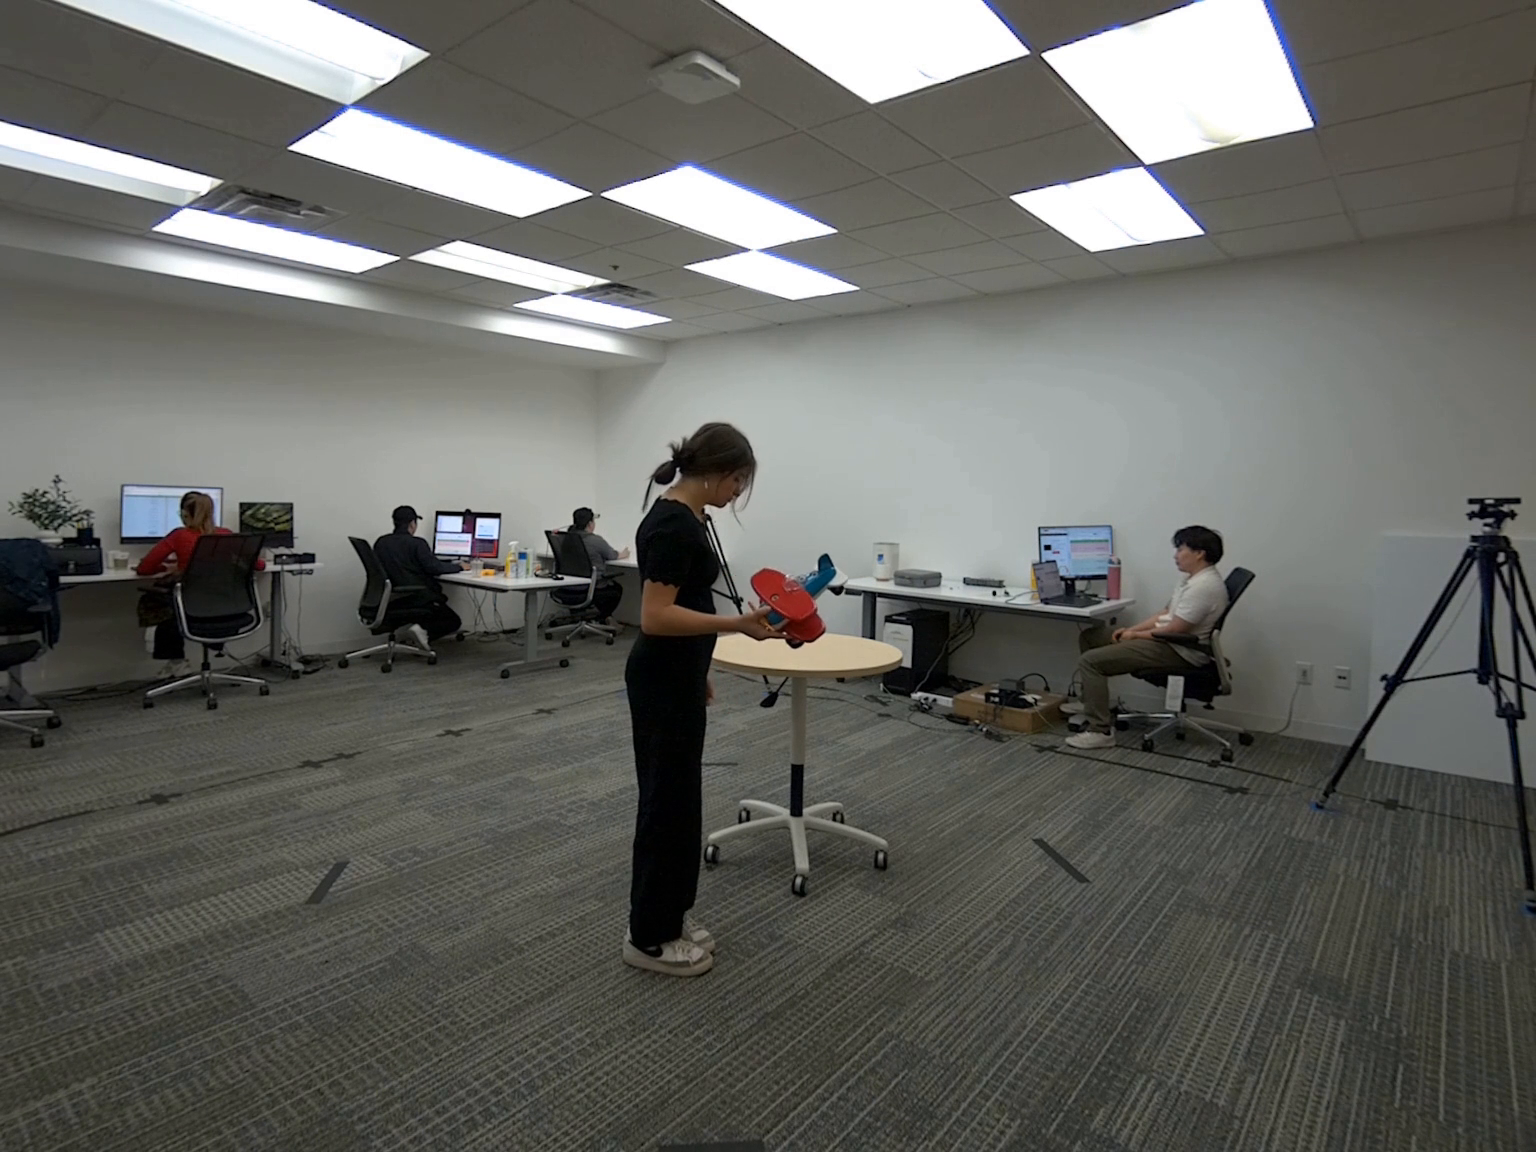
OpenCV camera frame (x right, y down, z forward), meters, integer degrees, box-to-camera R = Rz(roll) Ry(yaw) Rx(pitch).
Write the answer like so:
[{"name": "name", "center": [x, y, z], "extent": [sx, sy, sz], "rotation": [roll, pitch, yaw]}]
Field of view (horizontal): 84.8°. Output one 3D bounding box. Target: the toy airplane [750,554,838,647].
[{"name": "toy airplane", "center": [0.063, 0.054, 2.299], "extent": [0.259, 0.262, 0.150], "rotation": [1, -33, 39]}]
